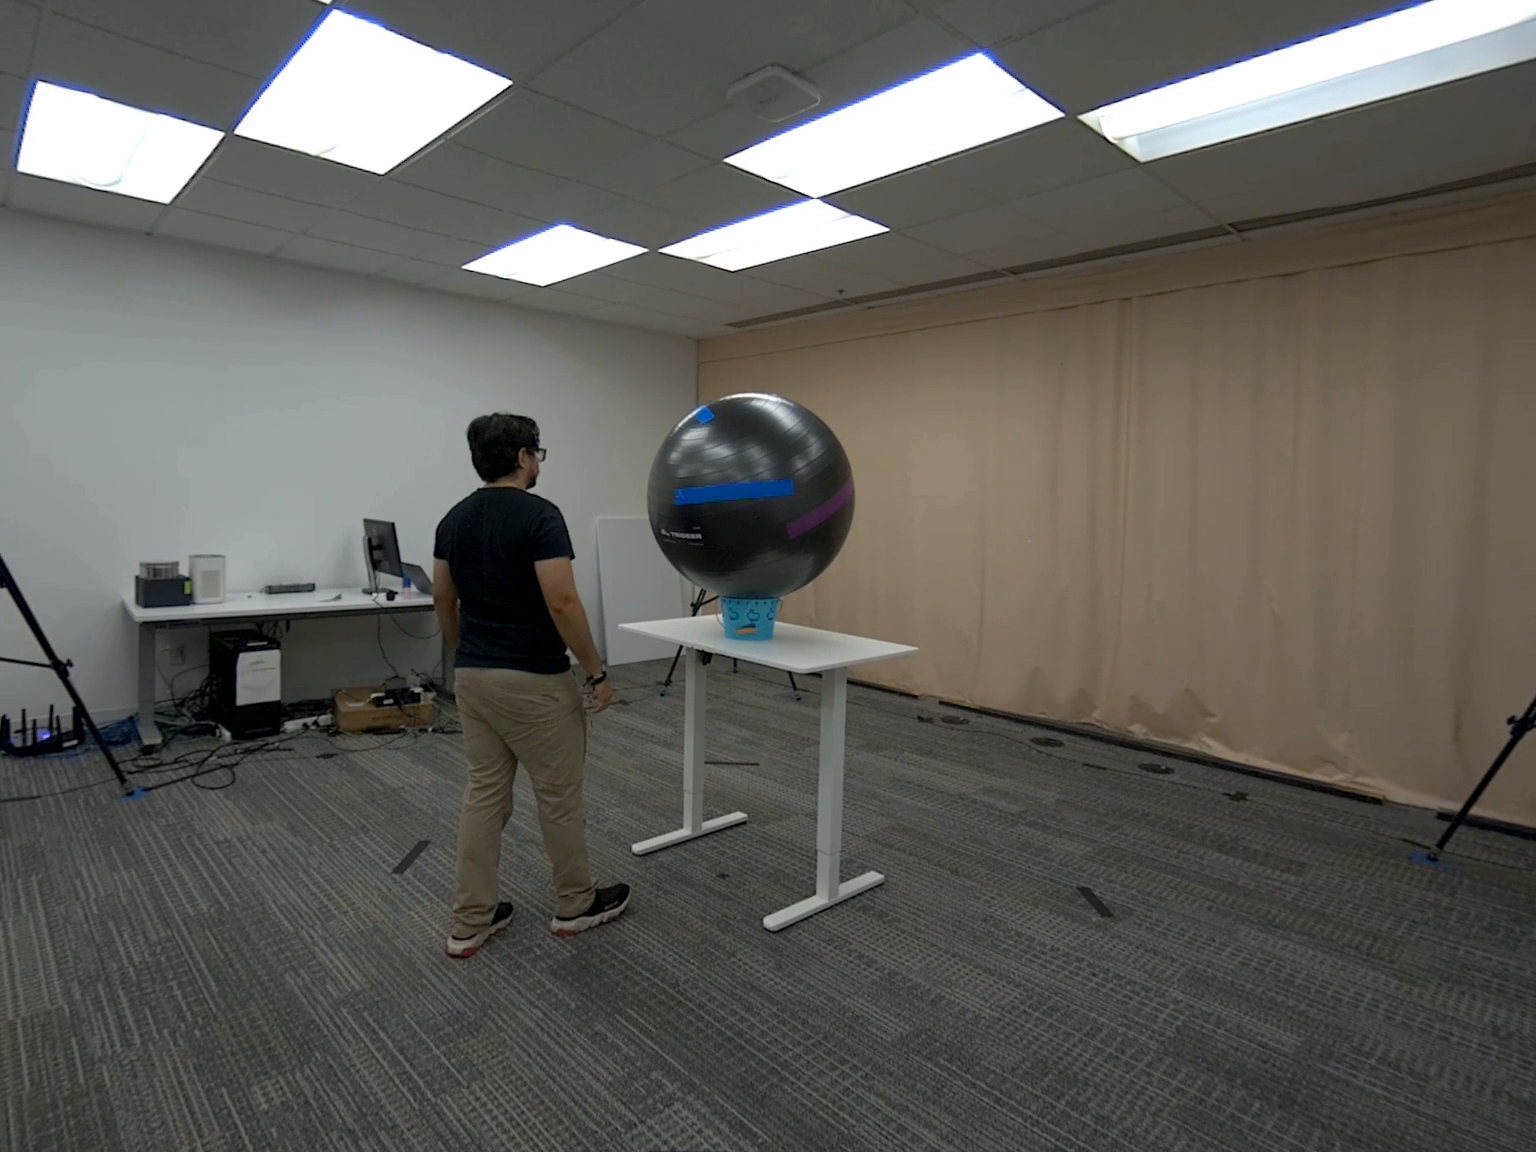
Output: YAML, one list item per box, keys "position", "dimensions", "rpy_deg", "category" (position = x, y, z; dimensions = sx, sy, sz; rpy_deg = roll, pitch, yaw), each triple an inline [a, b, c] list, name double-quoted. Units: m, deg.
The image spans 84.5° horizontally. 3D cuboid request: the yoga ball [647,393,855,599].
- position: [-0.065, -0.281, 3.078]
  dimensions: [0.757, 0.756, 0.761]
  rpy_deg: [1, 4, -1]
  category: "yoga ball"
